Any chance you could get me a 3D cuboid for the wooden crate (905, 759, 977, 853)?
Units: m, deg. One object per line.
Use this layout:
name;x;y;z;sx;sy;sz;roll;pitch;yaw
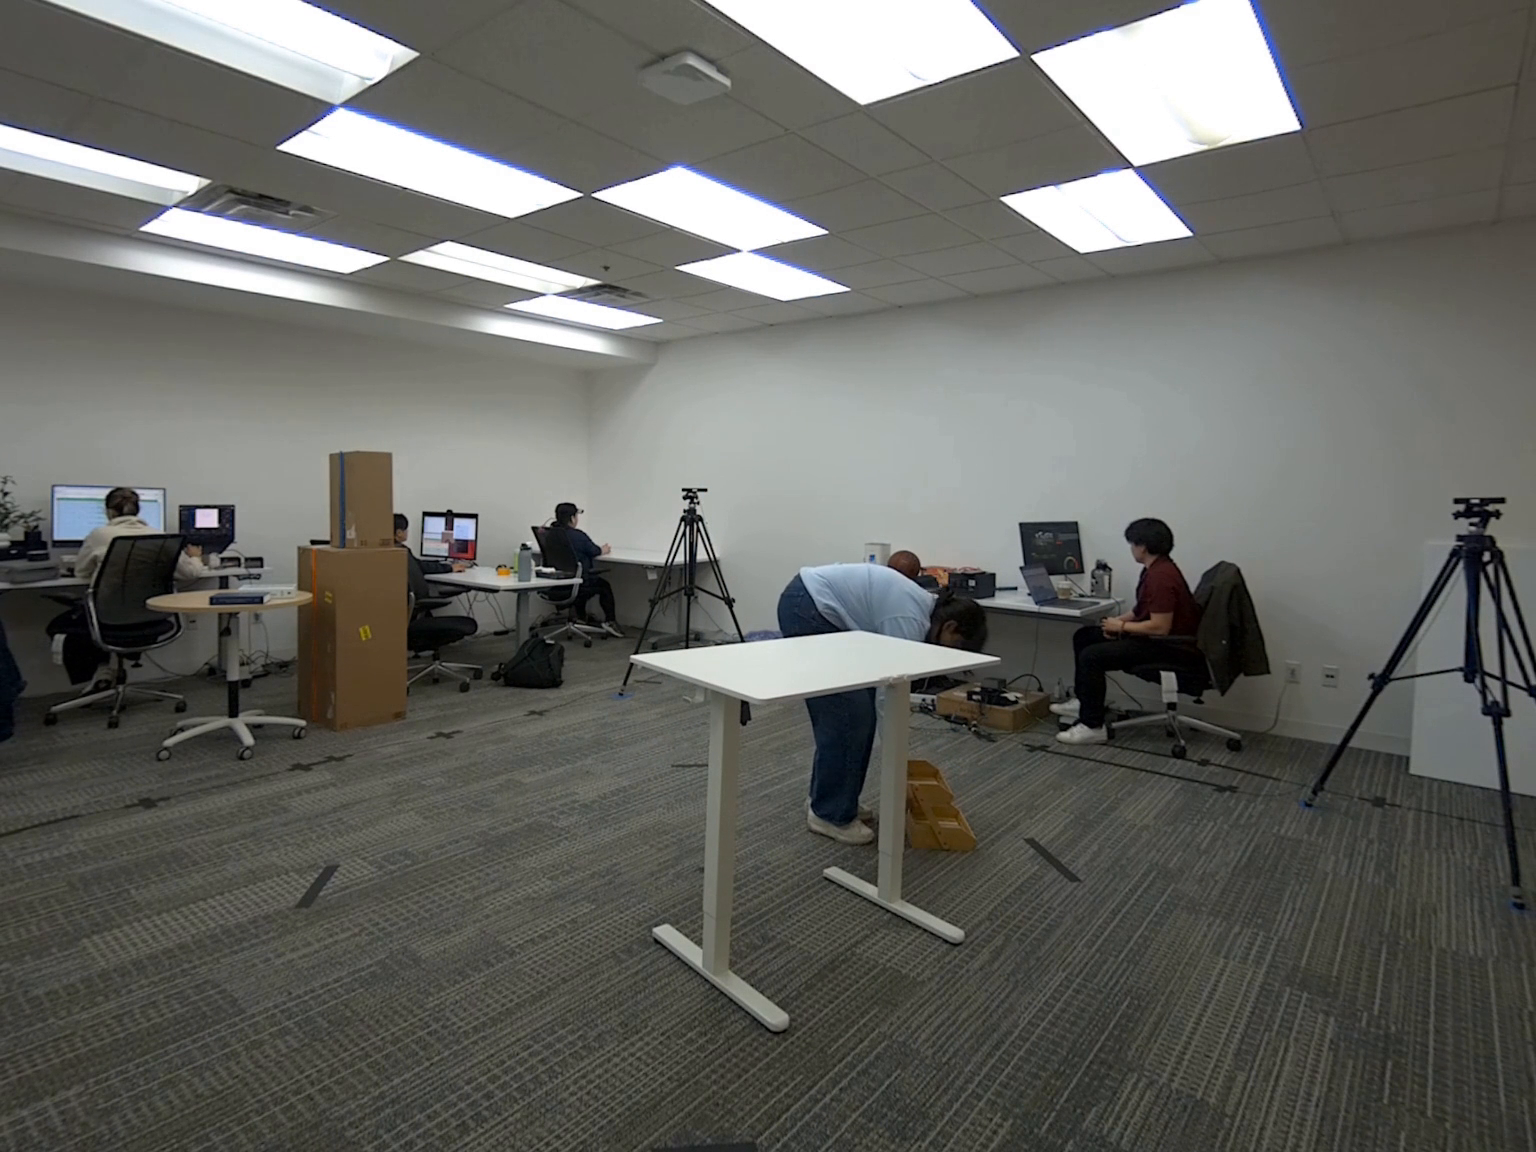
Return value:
wooden crate;0.666;0.923;3.477;0.303;0.272;0.325;1;4;2
